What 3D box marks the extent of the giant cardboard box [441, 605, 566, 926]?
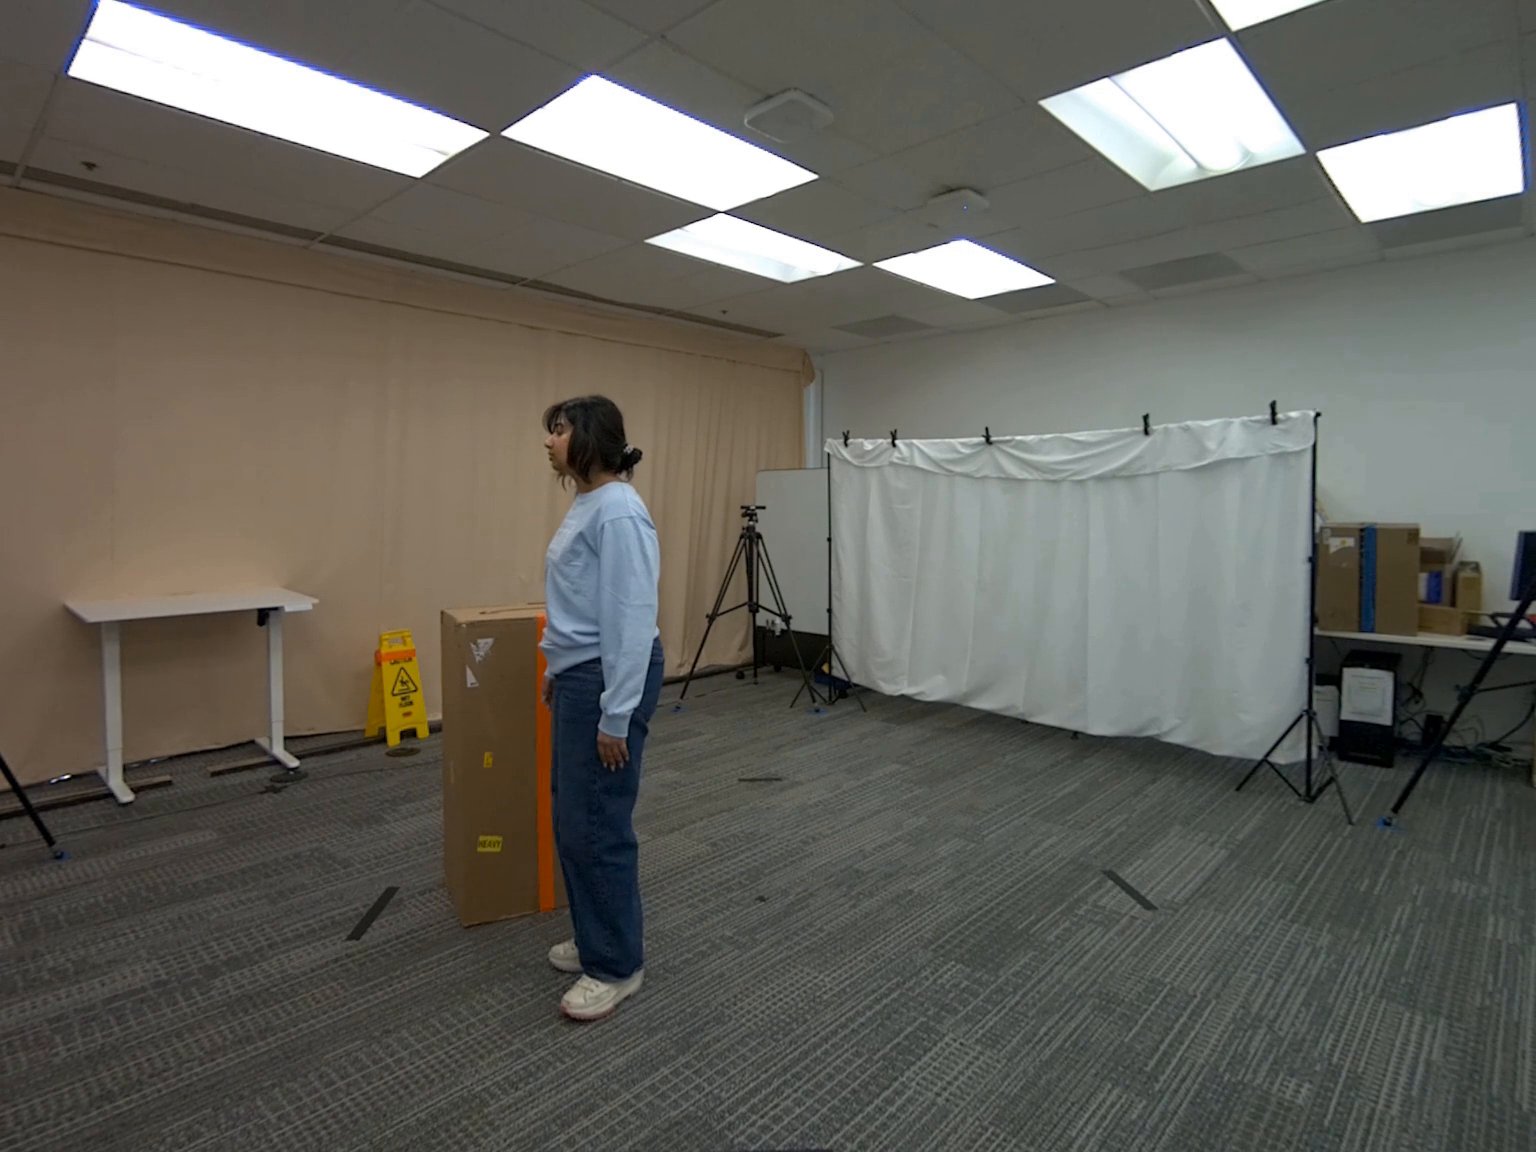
[{"bbox_3d":[-0.866,0.633,3.076,0.563,1.024,0.438,-1,3,-27],"label":"giant cardboard box"}]
